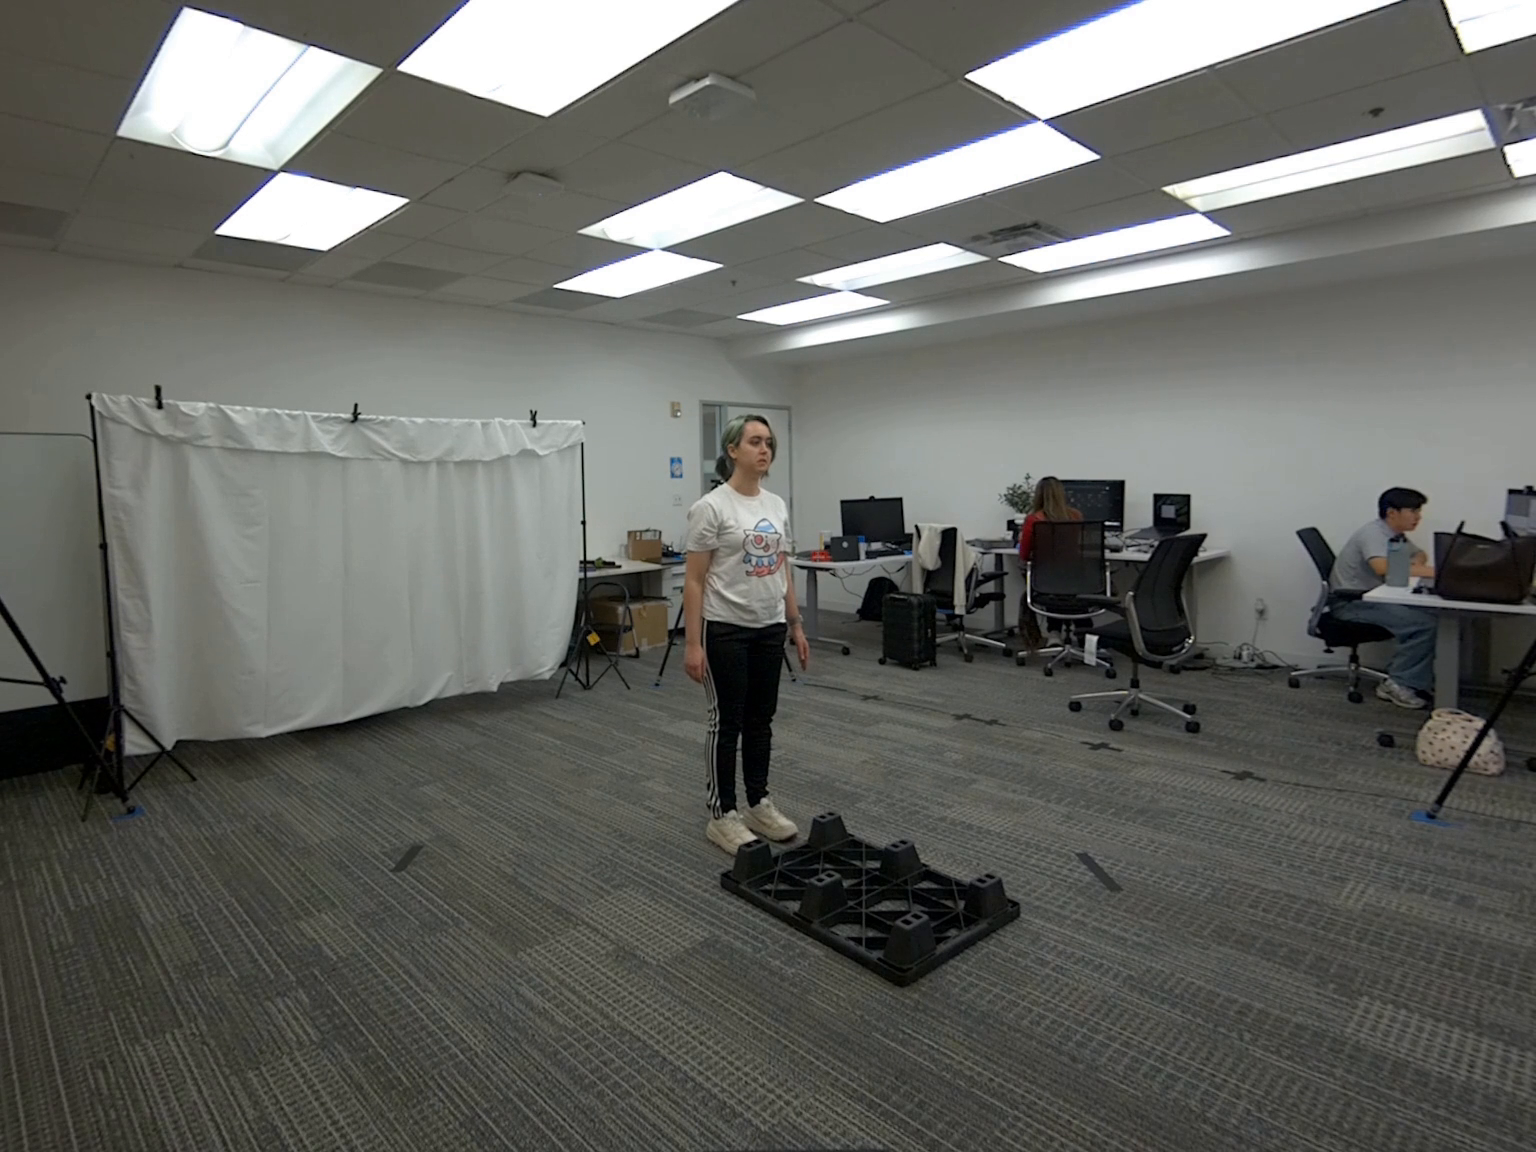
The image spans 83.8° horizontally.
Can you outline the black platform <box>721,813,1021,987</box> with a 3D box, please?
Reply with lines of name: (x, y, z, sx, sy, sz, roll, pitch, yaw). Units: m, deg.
black platform: (0.311, 1.007, 2.824, 0.589, 0.143, 0.830, -6, 8, -41)
